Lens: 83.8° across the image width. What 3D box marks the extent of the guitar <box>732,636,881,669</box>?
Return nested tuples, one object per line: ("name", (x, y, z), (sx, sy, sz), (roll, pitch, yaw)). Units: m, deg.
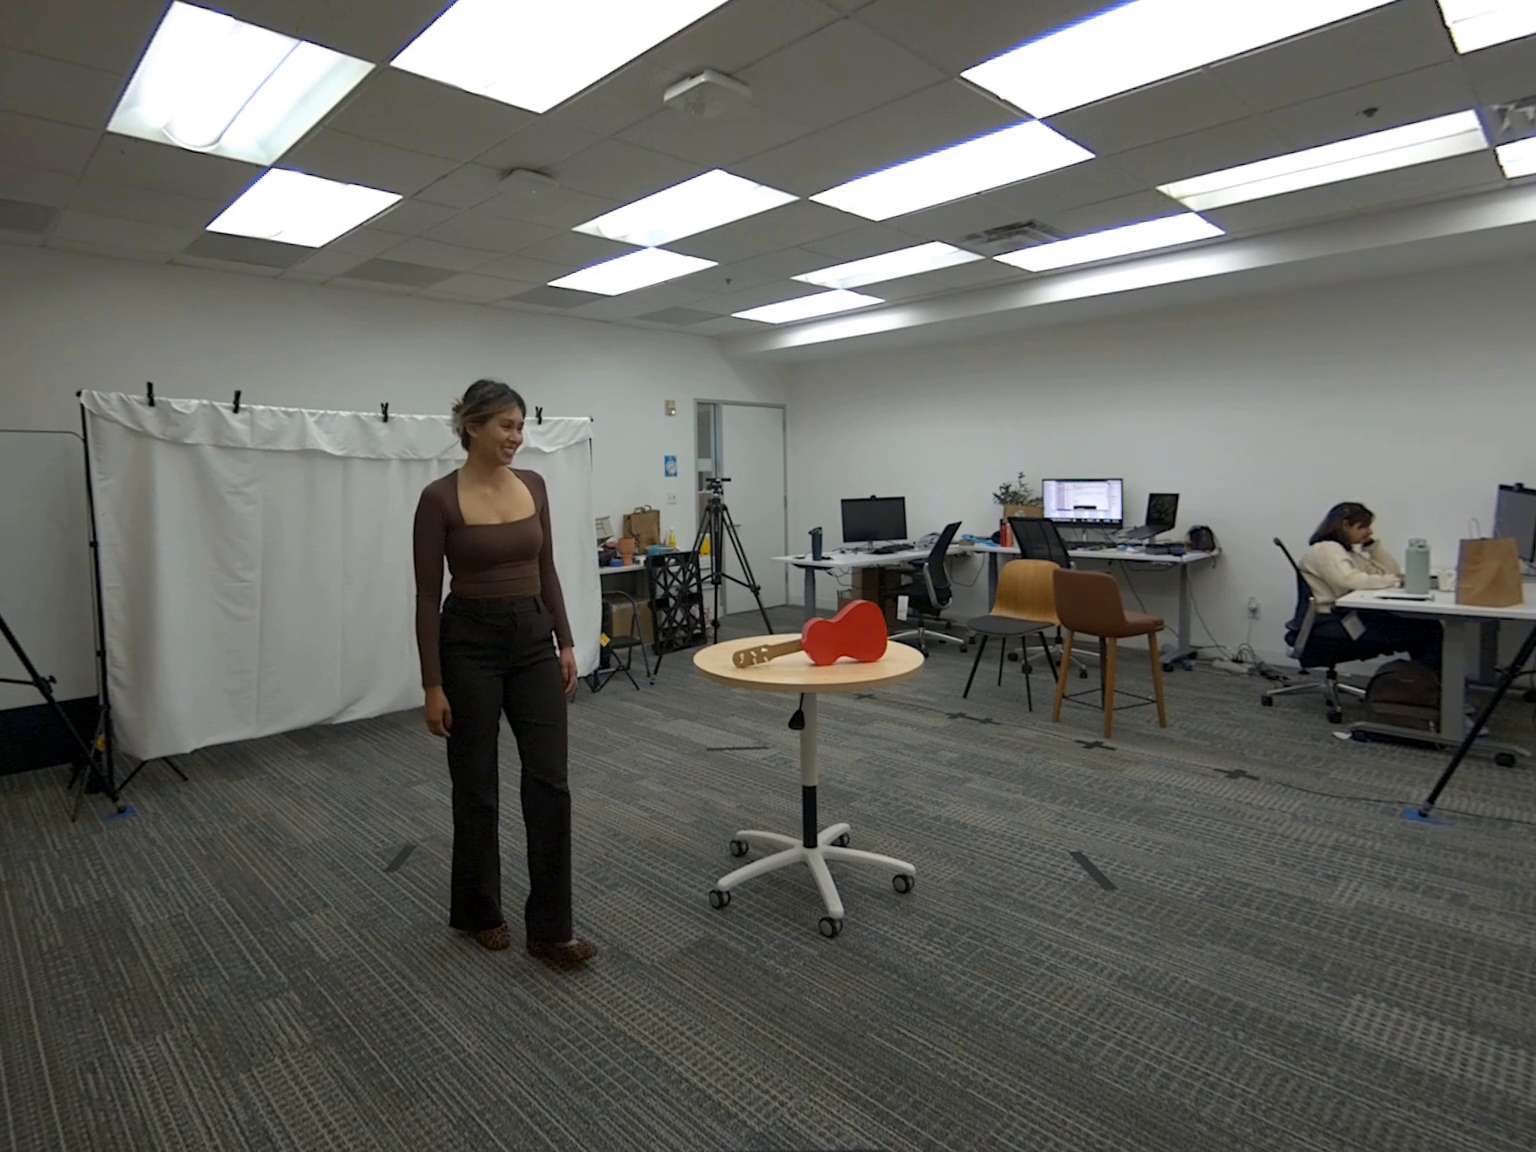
("guitar", (0.144, 0.239, 2.734), (0.495, 0.191, 0.071), (-21, 6, -10))
